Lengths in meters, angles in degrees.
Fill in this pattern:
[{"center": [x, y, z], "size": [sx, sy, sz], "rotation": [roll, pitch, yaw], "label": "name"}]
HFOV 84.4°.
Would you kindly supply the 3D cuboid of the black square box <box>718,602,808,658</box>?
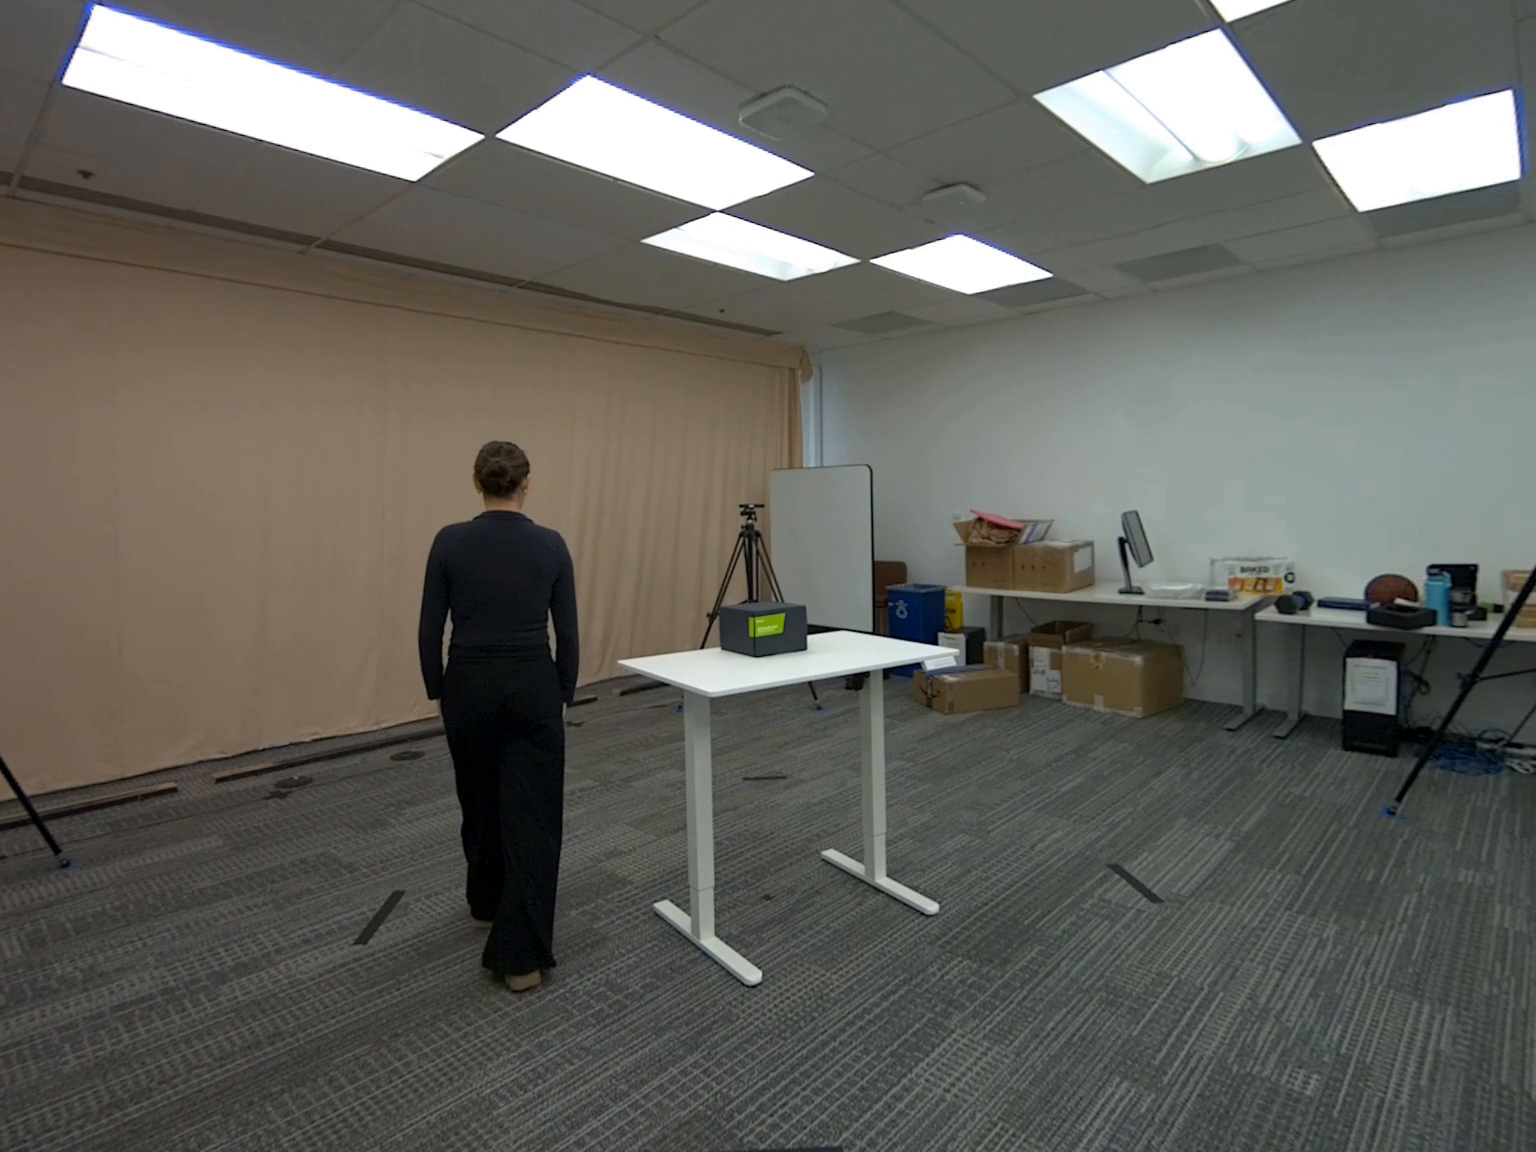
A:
[{"center": [-0.010, 0.182, 2.952], "size": [0.221, 0.155, 0.224], "rotation": [-5, 5, -35], "label": "black square box"}]
